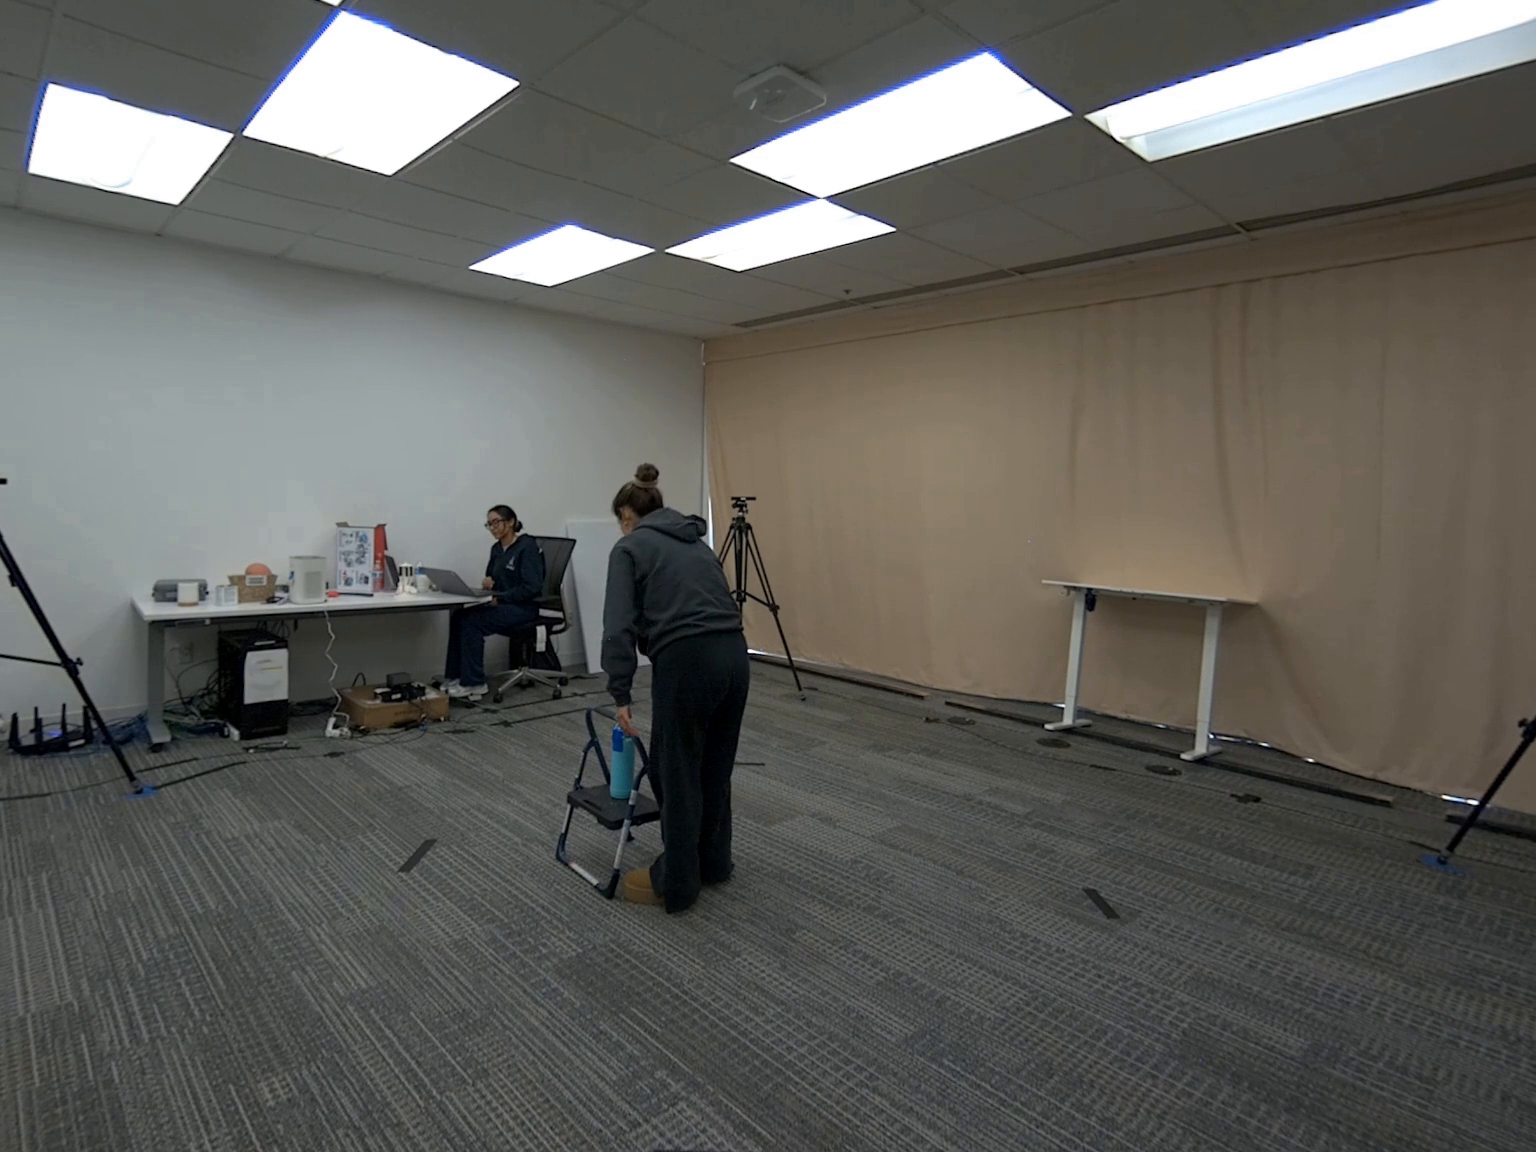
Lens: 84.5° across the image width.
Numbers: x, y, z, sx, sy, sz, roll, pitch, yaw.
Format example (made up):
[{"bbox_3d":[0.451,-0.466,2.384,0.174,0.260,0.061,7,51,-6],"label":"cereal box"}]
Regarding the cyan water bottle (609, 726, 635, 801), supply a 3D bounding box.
[{"bbox_3d":[-0.559,0.692,3.182,0.092,0.283,0.092,3,3,-2],"label":"cyan water bottle"}]
